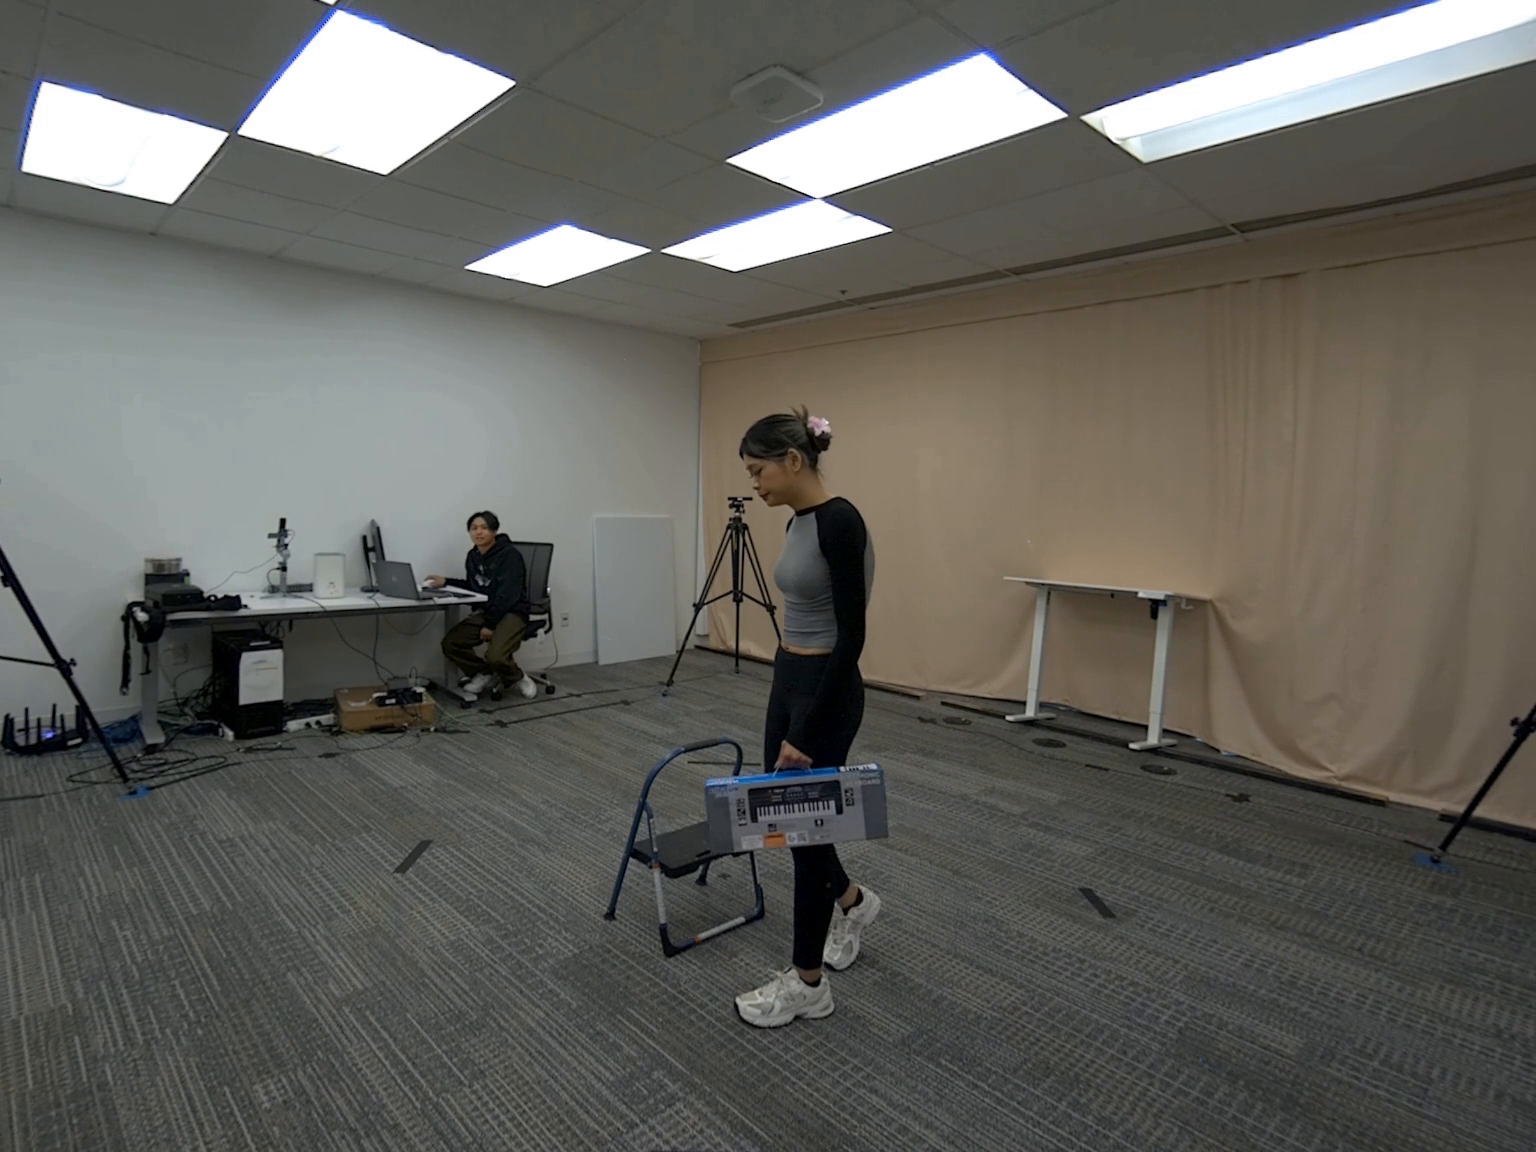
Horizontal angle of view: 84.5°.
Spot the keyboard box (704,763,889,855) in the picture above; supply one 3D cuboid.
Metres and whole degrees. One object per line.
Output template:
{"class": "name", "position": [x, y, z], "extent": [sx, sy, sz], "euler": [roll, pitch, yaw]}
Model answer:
{"class": "keyboard box", "position": [0.065, 0.576, 2.079], "extent": [0.437, 0.175, 0.059], "euler": [-6, 3, 1]}
